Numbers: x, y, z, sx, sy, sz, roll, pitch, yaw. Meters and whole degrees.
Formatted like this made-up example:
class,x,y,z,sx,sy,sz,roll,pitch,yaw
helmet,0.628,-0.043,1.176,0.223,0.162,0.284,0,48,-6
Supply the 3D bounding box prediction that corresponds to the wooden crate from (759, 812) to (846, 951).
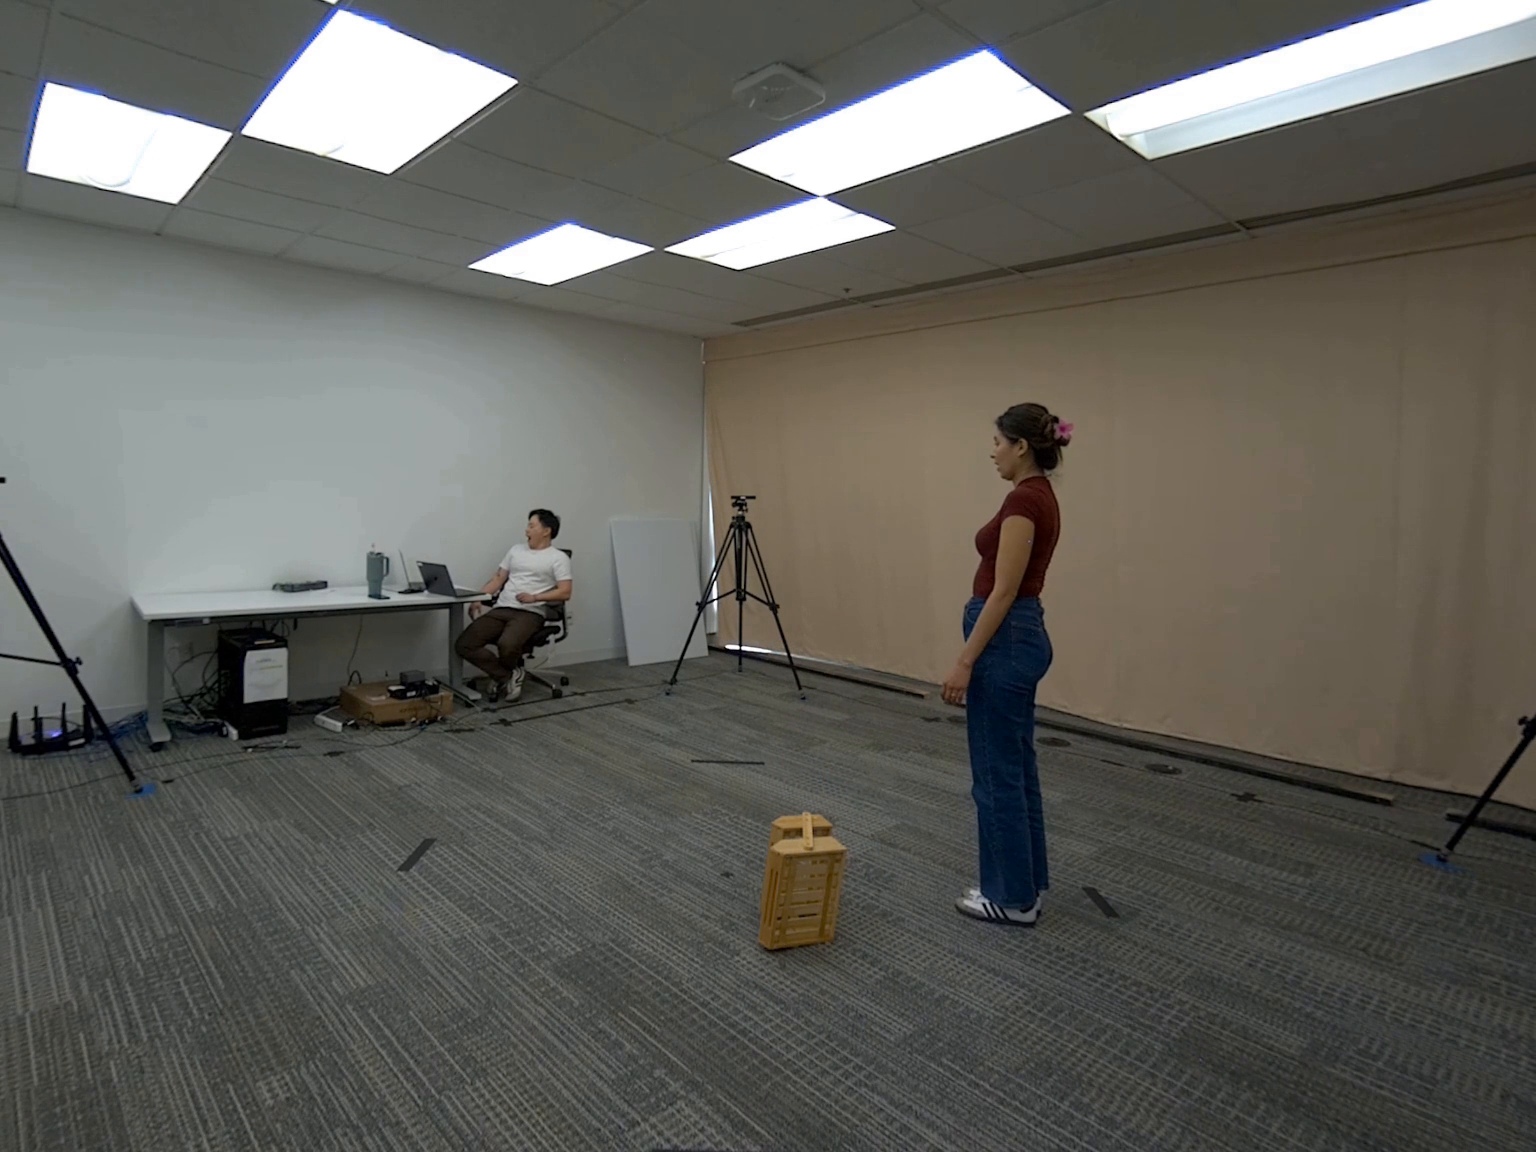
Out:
class,x,y,z,sx,sy,sz,roll,pitch,yaw
wooden crate,0.075,0.976,2.719,0.296,0.323,0.279,5,5,-26
